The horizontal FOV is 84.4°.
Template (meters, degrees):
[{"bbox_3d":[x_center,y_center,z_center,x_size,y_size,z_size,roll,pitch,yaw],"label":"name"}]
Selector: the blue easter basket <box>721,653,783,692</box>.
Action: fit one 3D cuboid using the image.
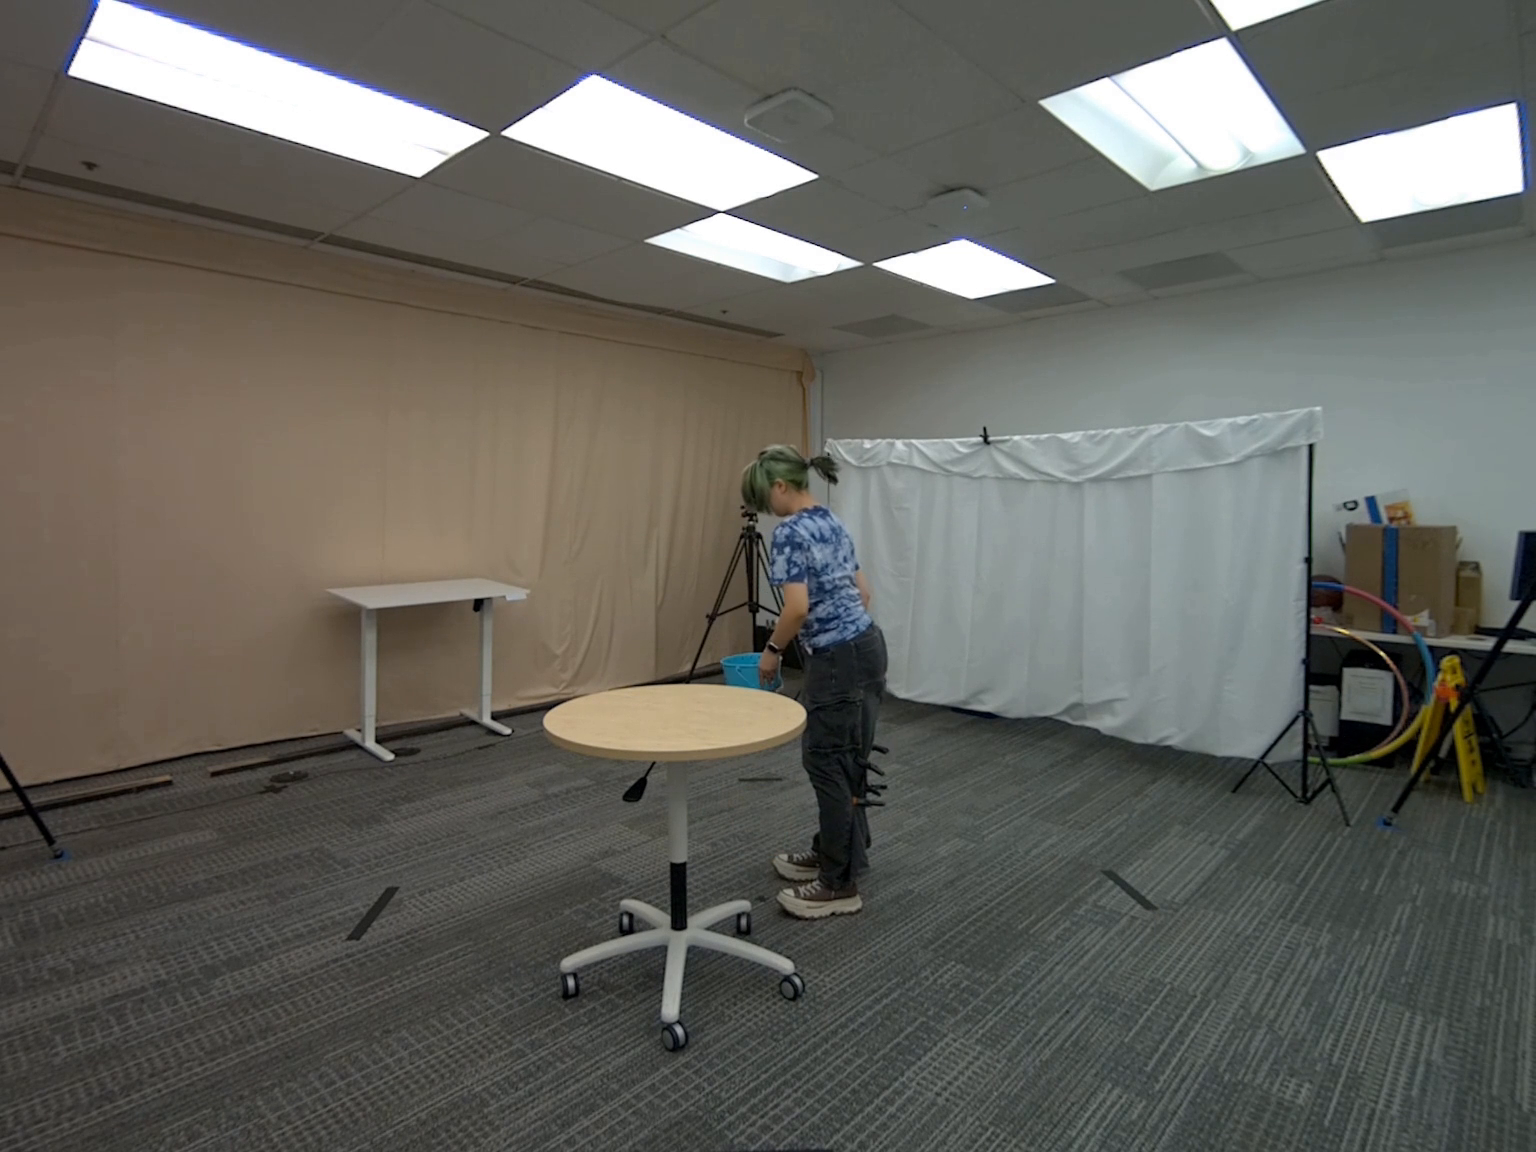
[{"bbox_3d":[-0.049,0.395,3.190,0.243,0.155,0.244,-5,3,-2],"label":"blue easter basket"}]
